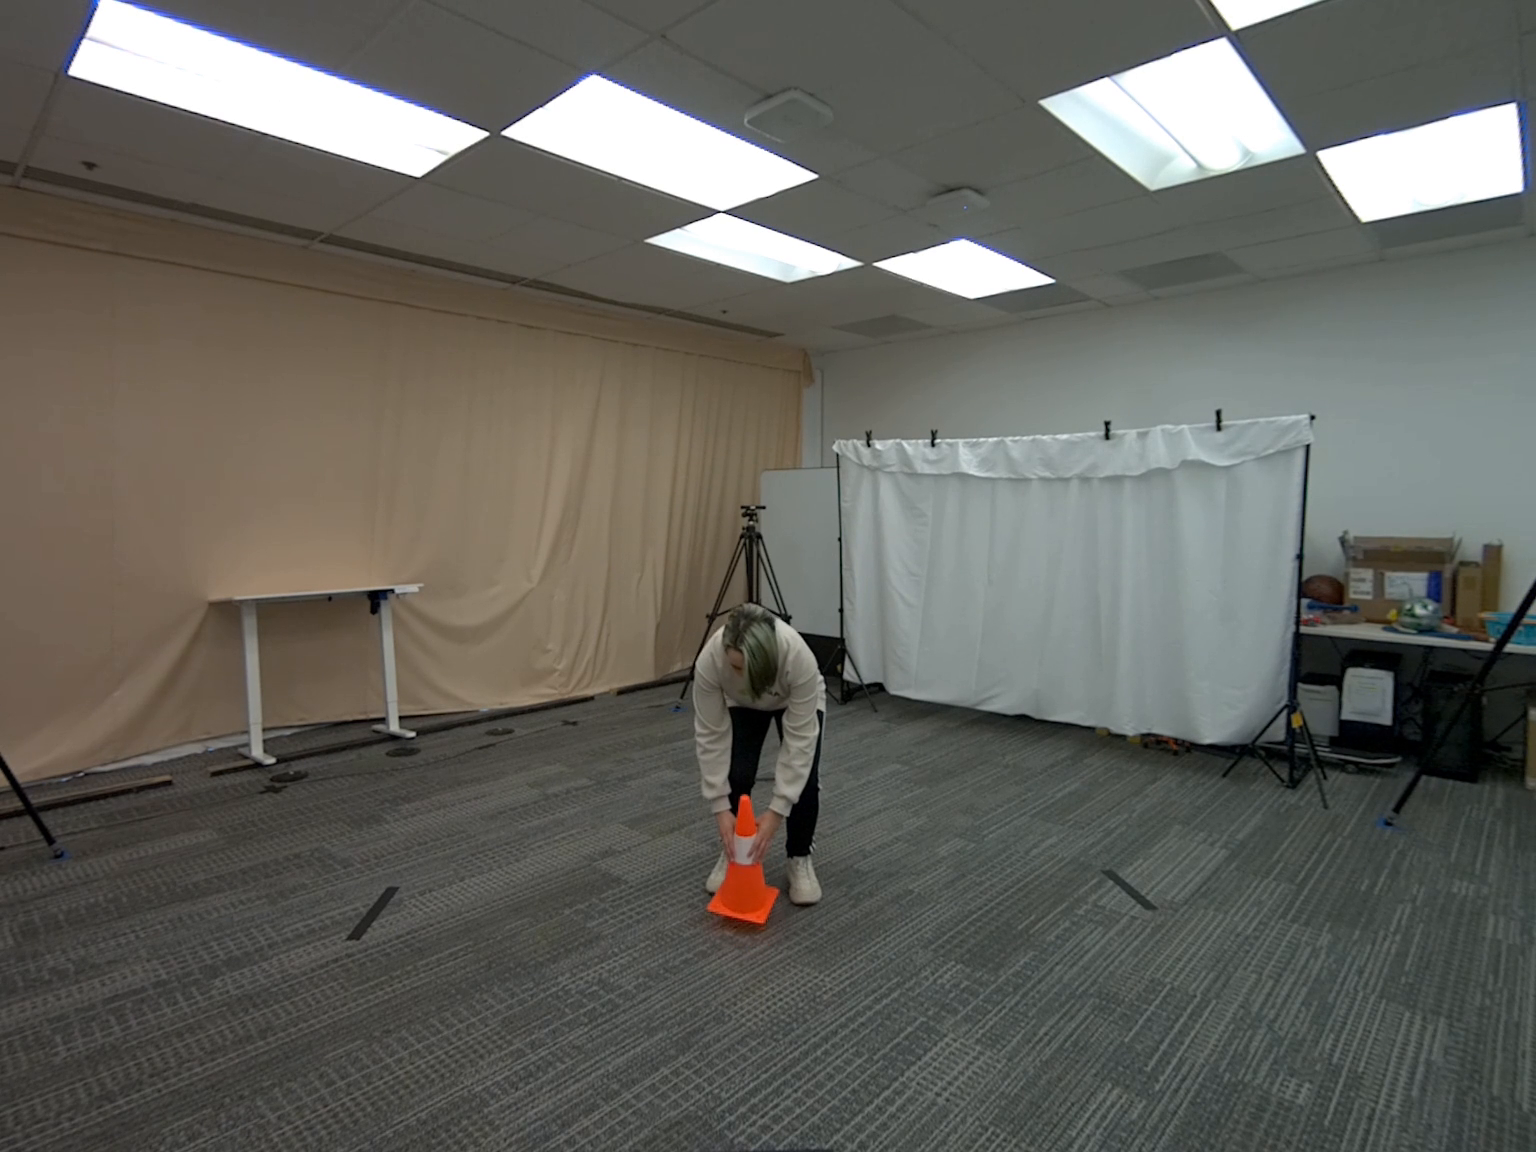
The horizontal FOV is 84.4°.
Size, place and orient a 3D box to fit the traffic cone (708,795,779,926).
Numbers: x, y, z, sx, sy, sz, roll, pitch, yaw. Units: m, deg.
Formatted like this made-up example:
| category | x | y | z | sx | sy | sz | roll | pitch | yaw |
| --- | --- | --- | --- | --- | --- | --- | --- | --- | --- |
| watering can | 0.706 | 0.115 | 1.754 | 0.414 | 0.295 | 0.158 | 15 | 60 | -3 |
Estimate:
| category | x | y | z | sx | sy | sz | roll | pitch | yaw |
| --- | --- | --- | --- | --- | --- | --- | --- | --- | --- |
| traffic cone | -0.074 | 0.899 | 2.781 | 0.209 | 0.381 | 0.201 | 5 | 12 | 17 |
